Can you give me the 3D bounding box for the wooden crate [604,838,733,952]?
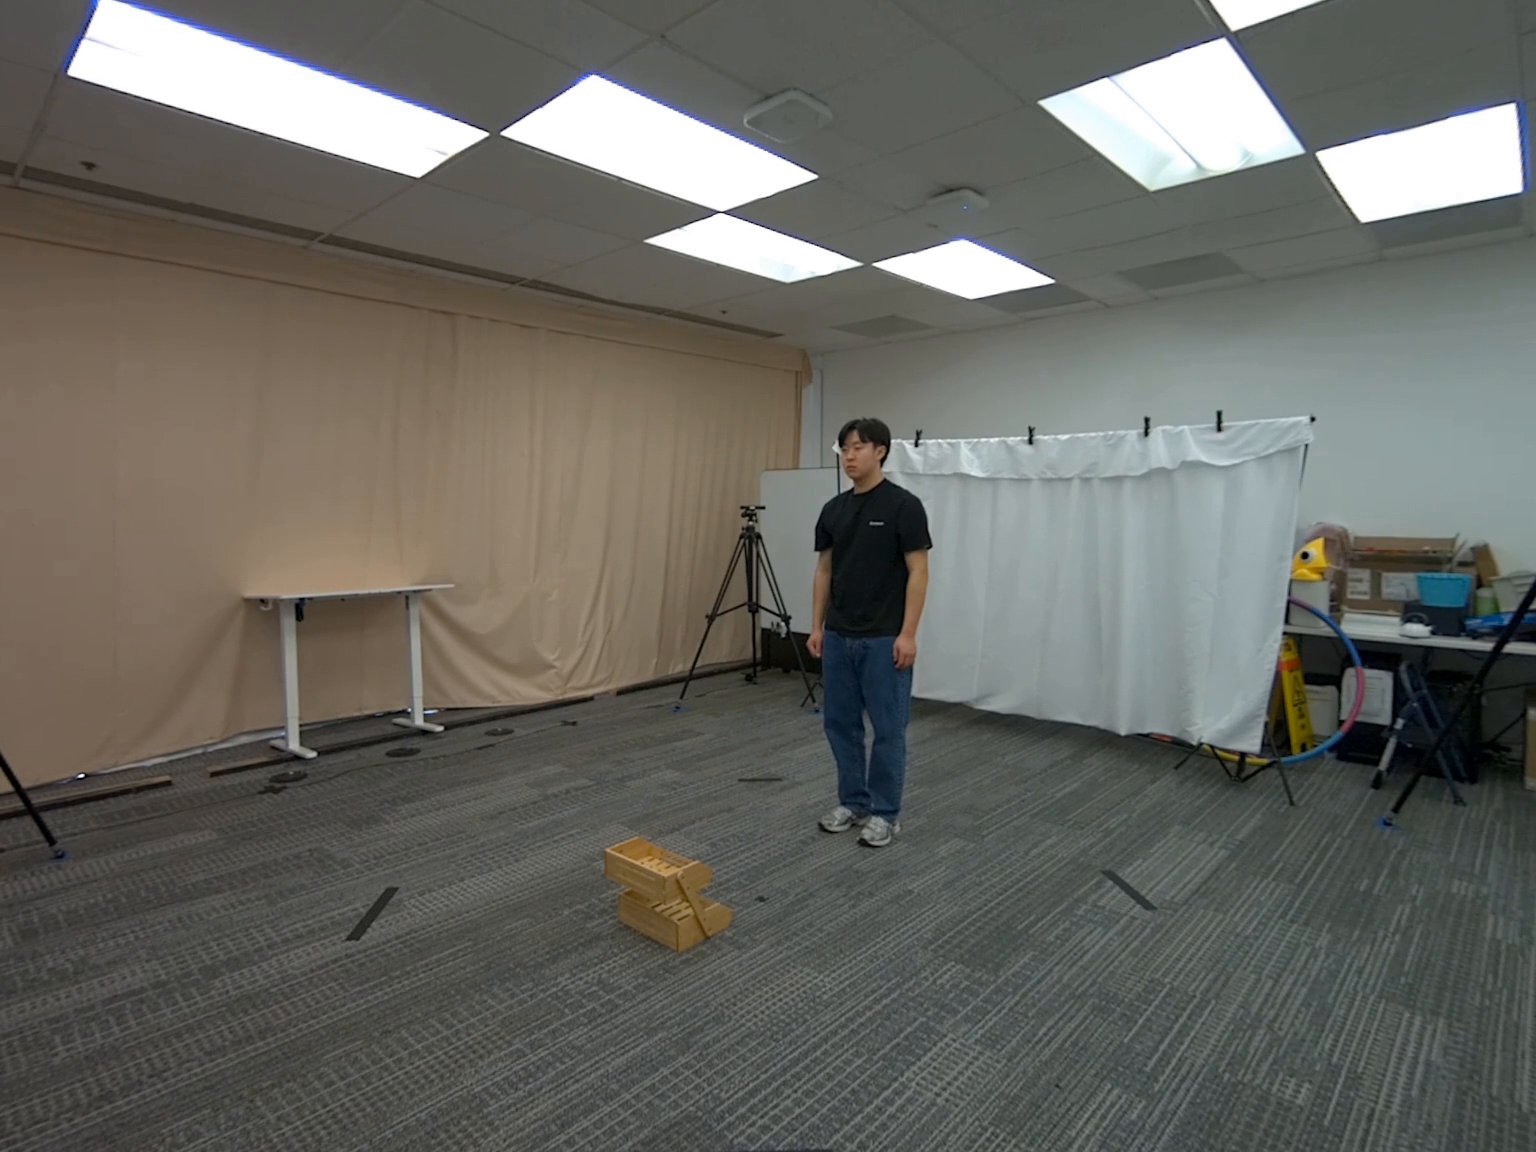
[{"bbox_3d":[-0.326,1.040,2.786,0.335,0.273,0.293,2,5,43],"label":"wooden crate"}]
